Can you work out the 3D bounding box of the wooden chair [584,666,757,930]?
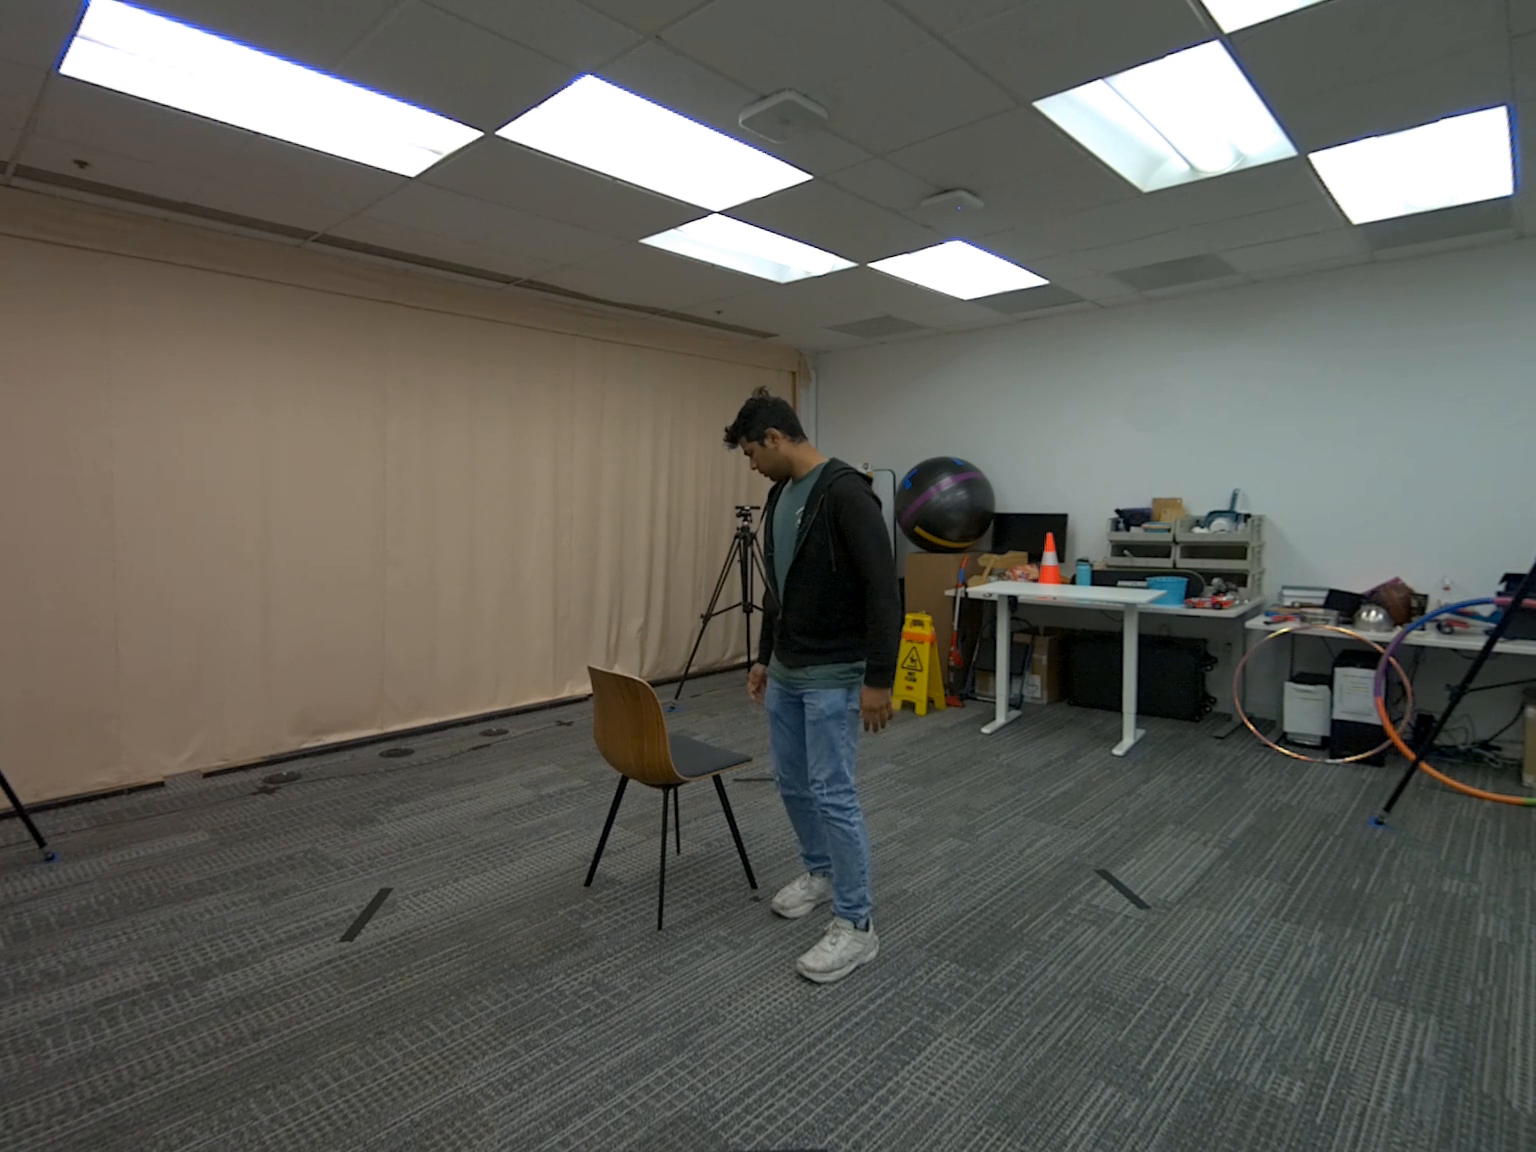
[{"bbox_3d":[-0.349,0.714,3.055,0.508,0.874,0.494,-9,8,-44],"label":"wooden chair"}]
